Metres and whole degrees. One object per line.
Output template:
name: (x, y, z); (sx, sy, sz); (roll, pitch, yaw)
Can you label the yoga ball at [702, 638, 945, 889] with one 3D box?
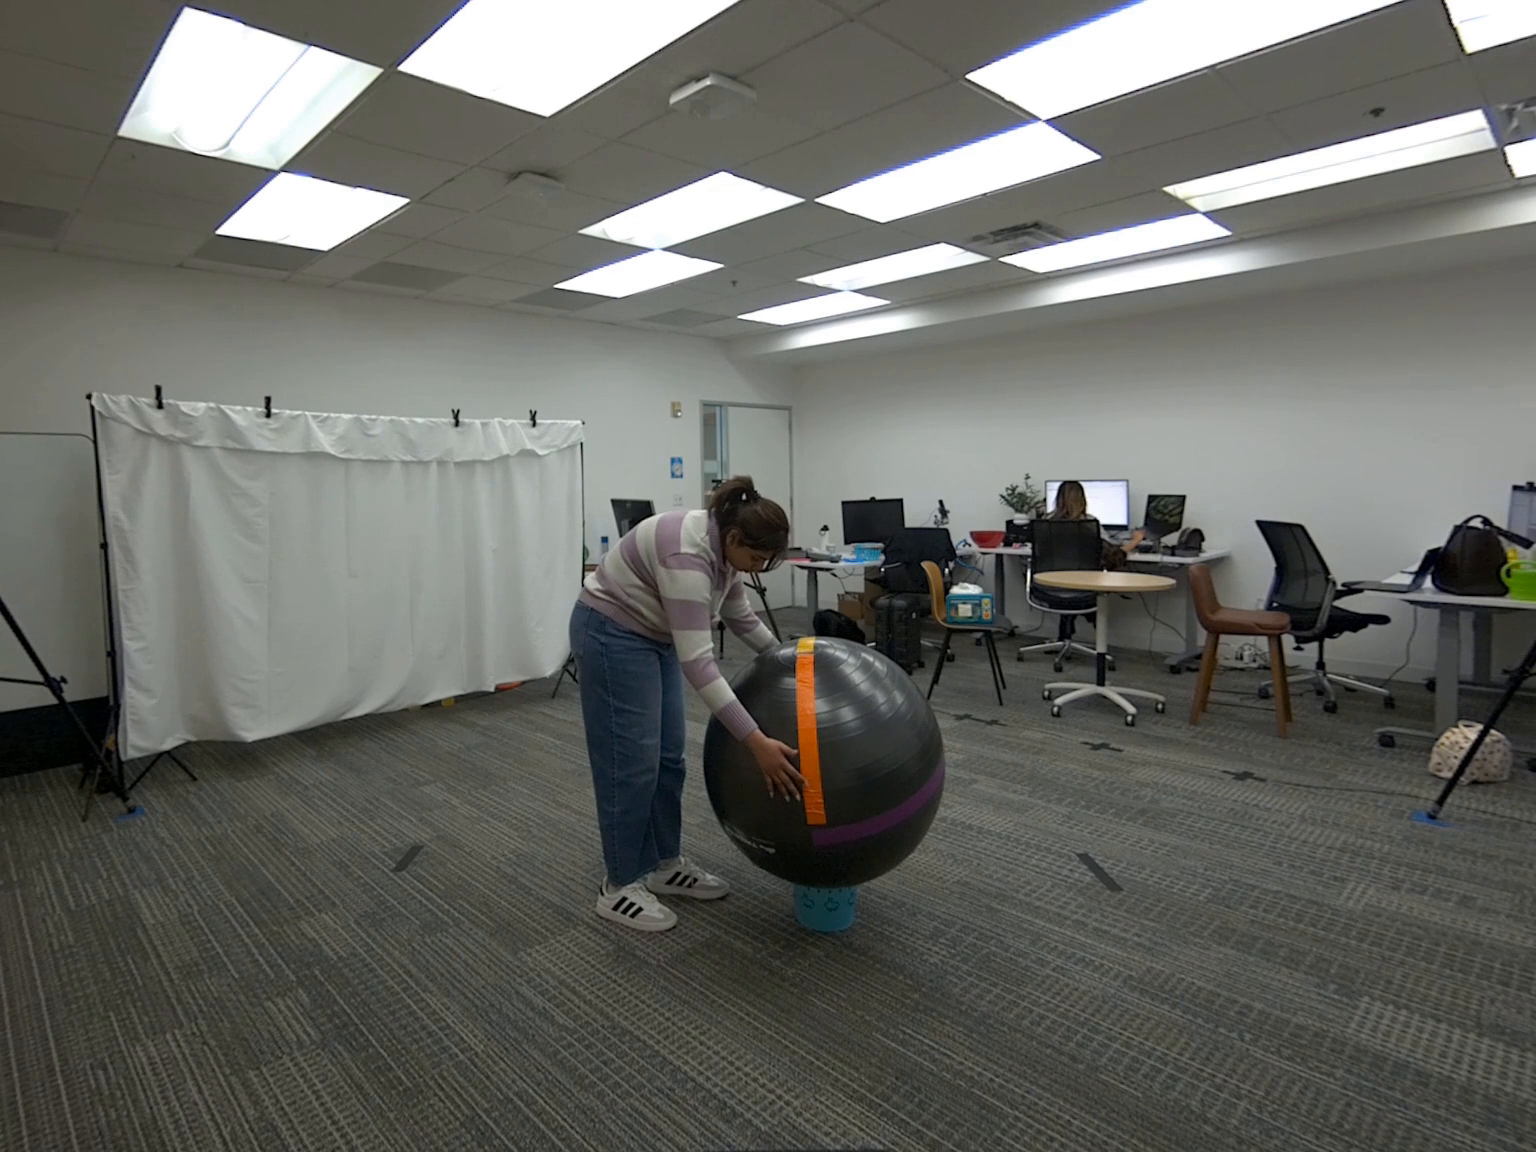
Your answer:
yoga ball: (0.179, 0.581, 2.687); (0.757, 0.755, 0.762); (-1, 5, -2)
